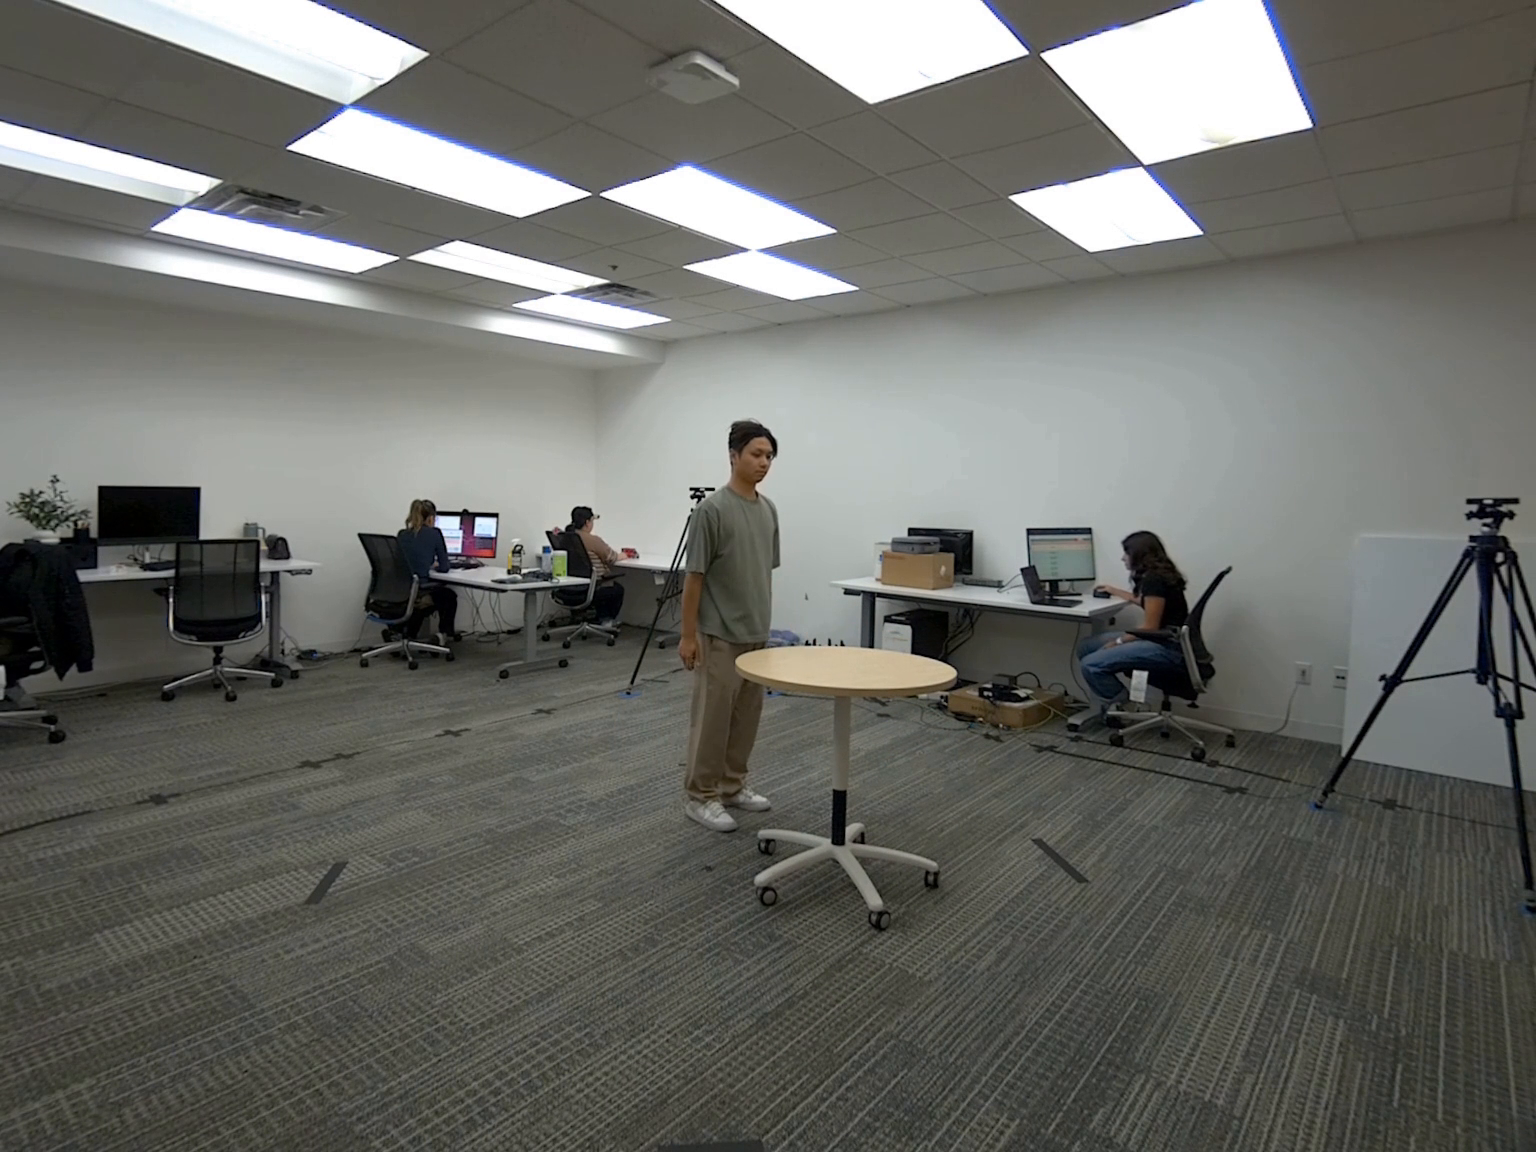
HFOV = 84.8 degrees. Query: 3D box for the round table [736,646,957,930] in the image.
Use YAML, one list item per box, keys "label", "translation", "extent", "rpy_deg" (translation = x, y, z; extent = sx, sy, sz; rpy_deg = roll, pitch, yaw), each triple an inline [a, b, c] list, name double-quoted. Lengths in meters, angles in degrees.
- label: "round table"
  translation: [0.251, 0.698, 2.999]
  extent: [0.784, 0.784, 0.788]
  rpy_deg: [1, 4, -2]
